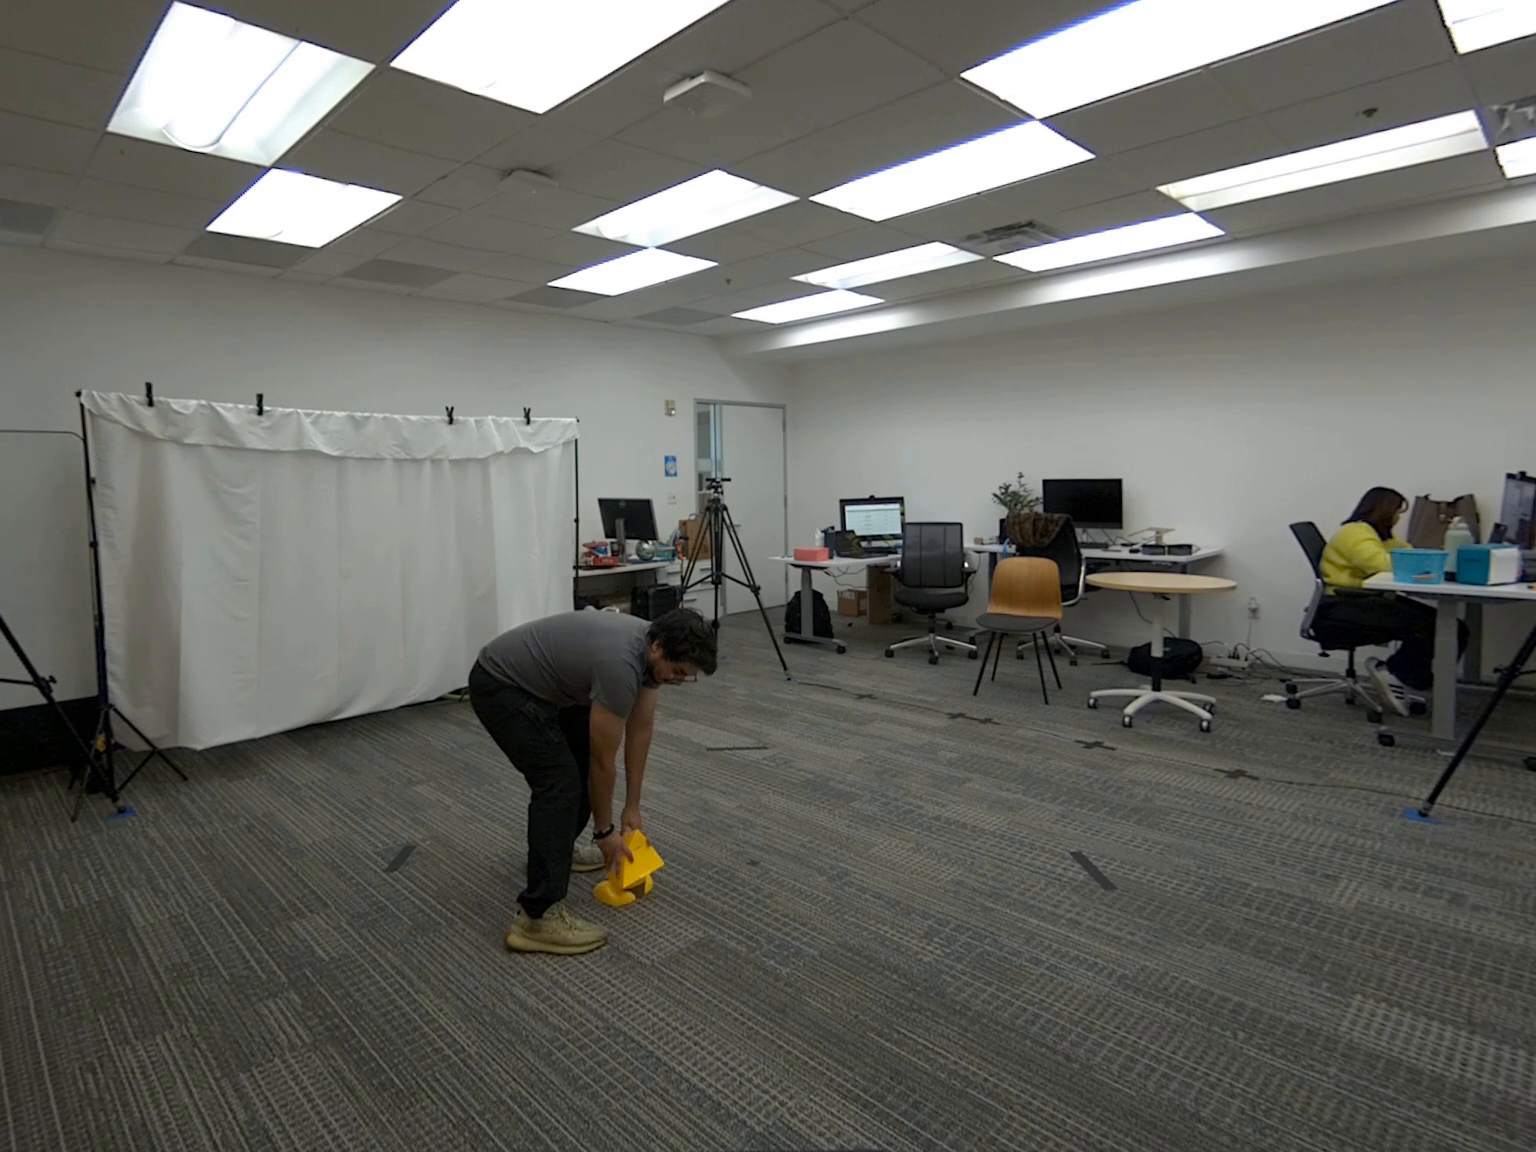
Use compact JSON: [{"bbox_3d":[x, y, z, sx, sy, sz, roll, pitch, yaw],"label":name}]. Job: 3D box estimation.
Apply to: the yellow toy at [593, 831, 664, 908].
[{"bbox_3d":[-0.478,0.963,2.898,0.199,0.230,0.200,2,6,36],"label":"yellow toy"}]
